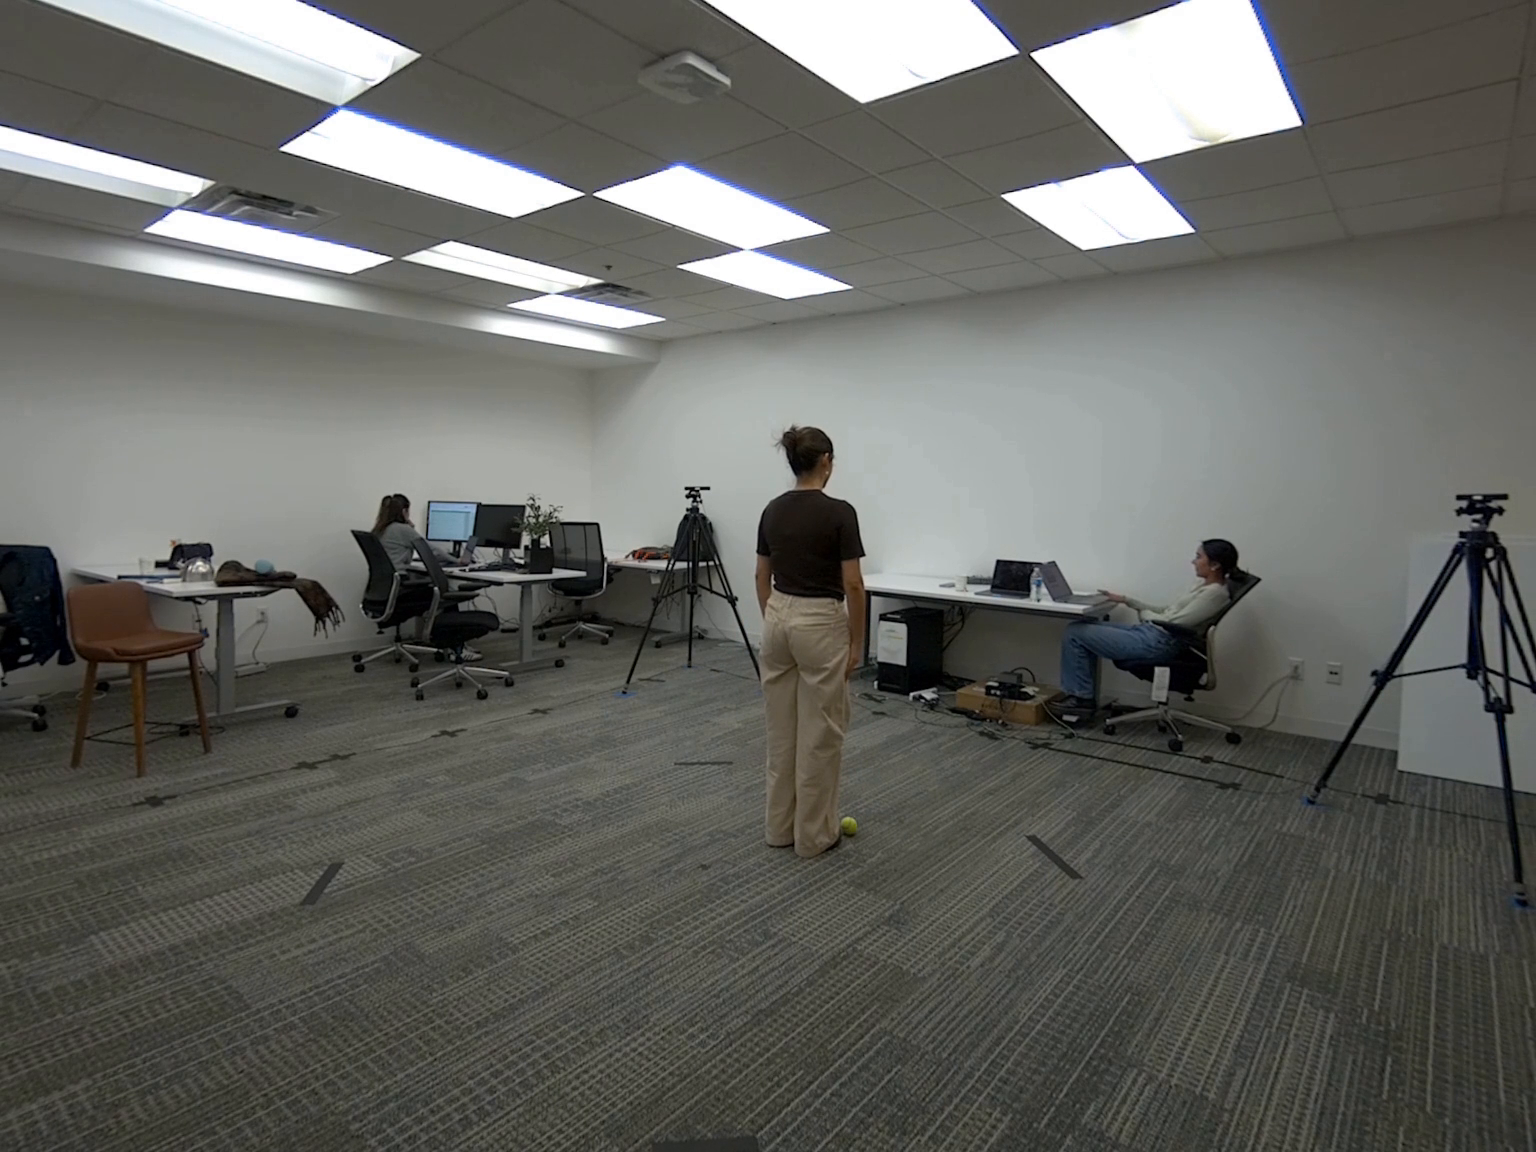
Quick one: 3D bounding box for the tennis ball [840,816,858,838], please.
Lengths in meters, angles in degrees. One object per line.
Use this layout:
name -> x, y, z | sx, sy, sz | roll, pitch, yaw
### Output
tennis ball -> 0.313, 1.007, 3.446 | 0.066, 0.066, 0.067 | 1, 4, -2
